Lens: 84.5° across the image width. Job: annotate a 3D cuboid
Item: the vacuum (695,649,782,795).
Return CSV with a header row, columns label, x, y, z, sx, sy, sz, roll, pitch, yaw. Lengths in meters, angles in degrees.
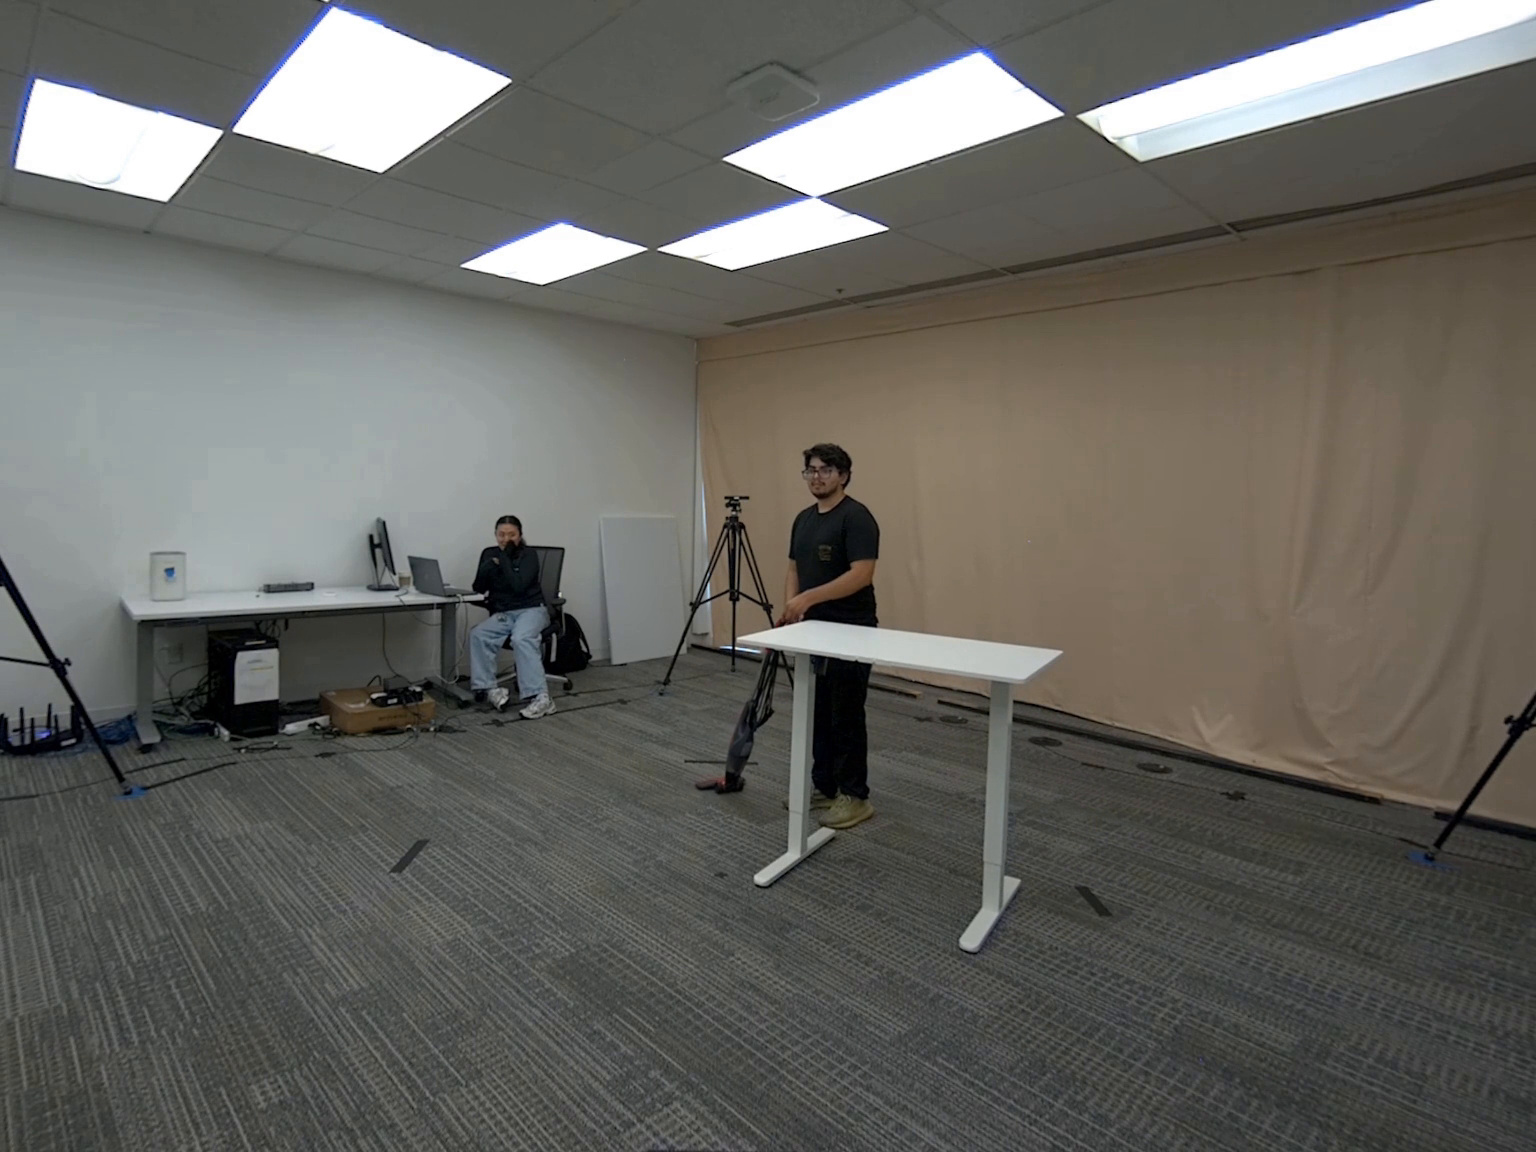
label,x,y,z,sx,sy,sz,roll,pitch,yaw
vacuum,-0.064,0.584,3.782,0.247,1.038,0.148,-6,40,-39
